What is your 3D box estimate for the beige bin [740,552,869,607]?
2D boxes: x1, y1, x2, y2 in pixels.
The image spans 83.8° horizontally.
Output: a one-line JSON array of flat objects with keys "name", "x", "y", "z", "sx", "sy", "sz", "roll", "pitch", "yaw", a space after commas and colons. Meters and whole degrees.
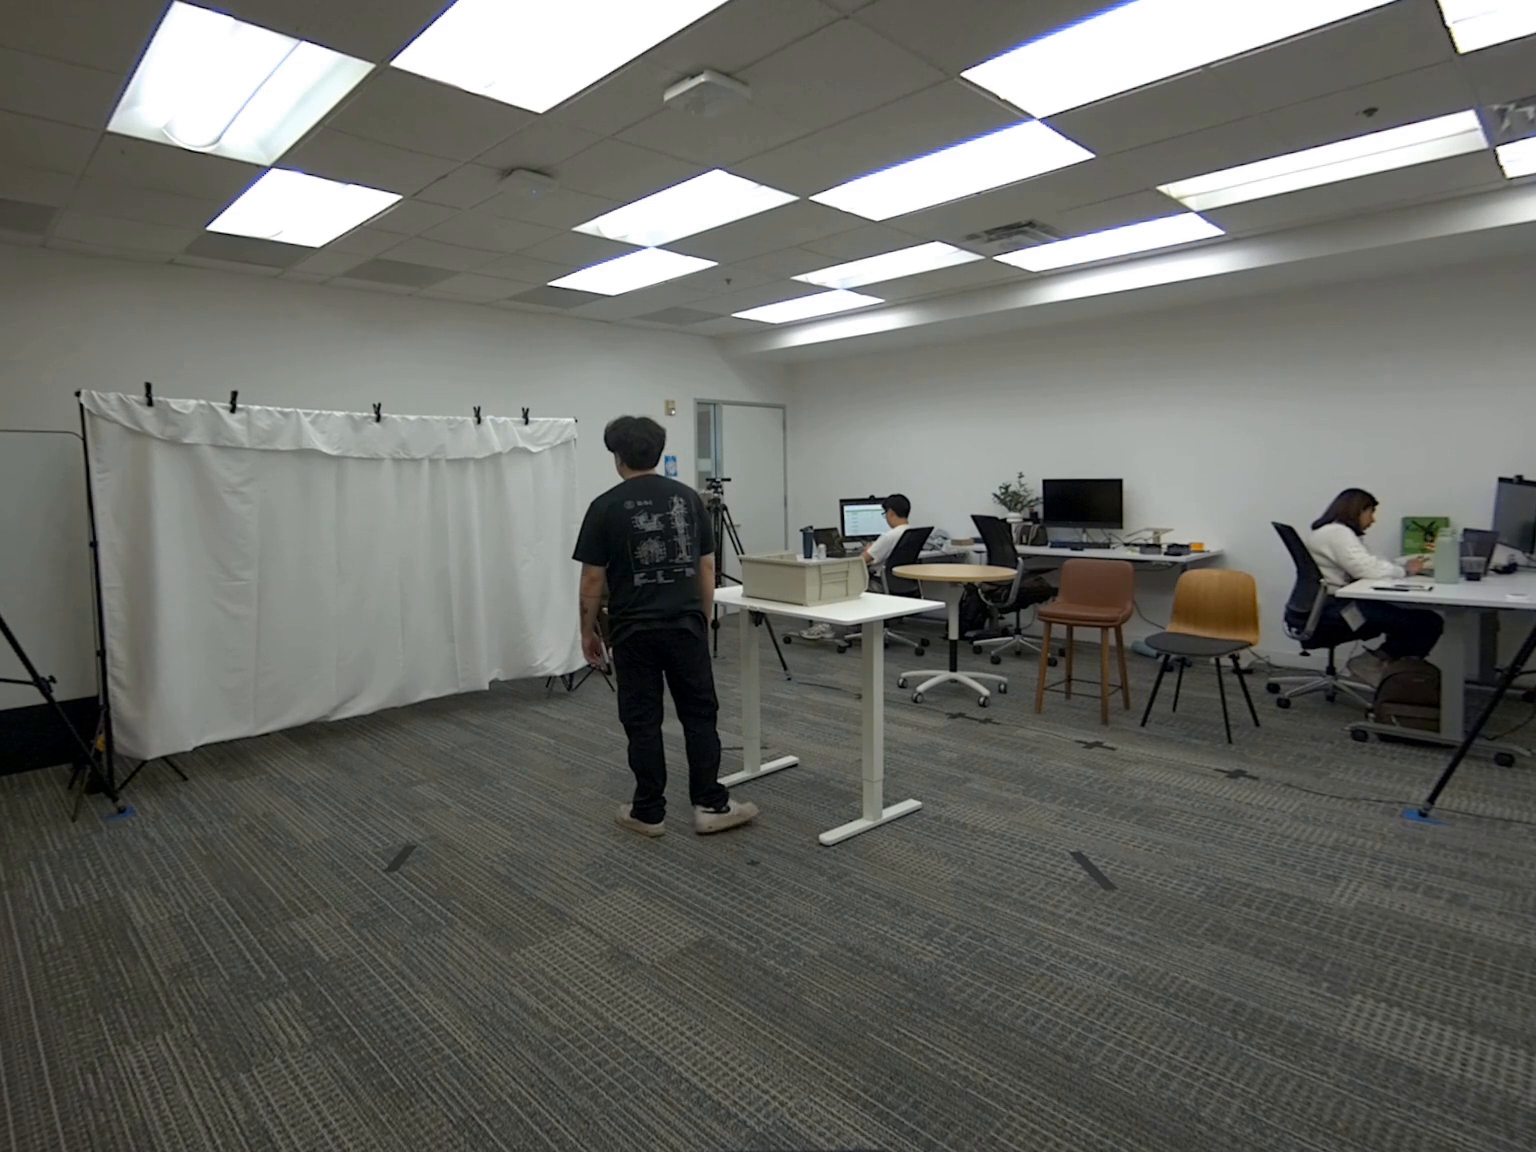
[{"name": "beige bin", "x": 0.149, "y": 0.004, "z": 3.667, "sx": 0.368, "sy": 0.188, "sz": 0.435, "roll": -8, "pitch": 10, "yaw": -41}]
